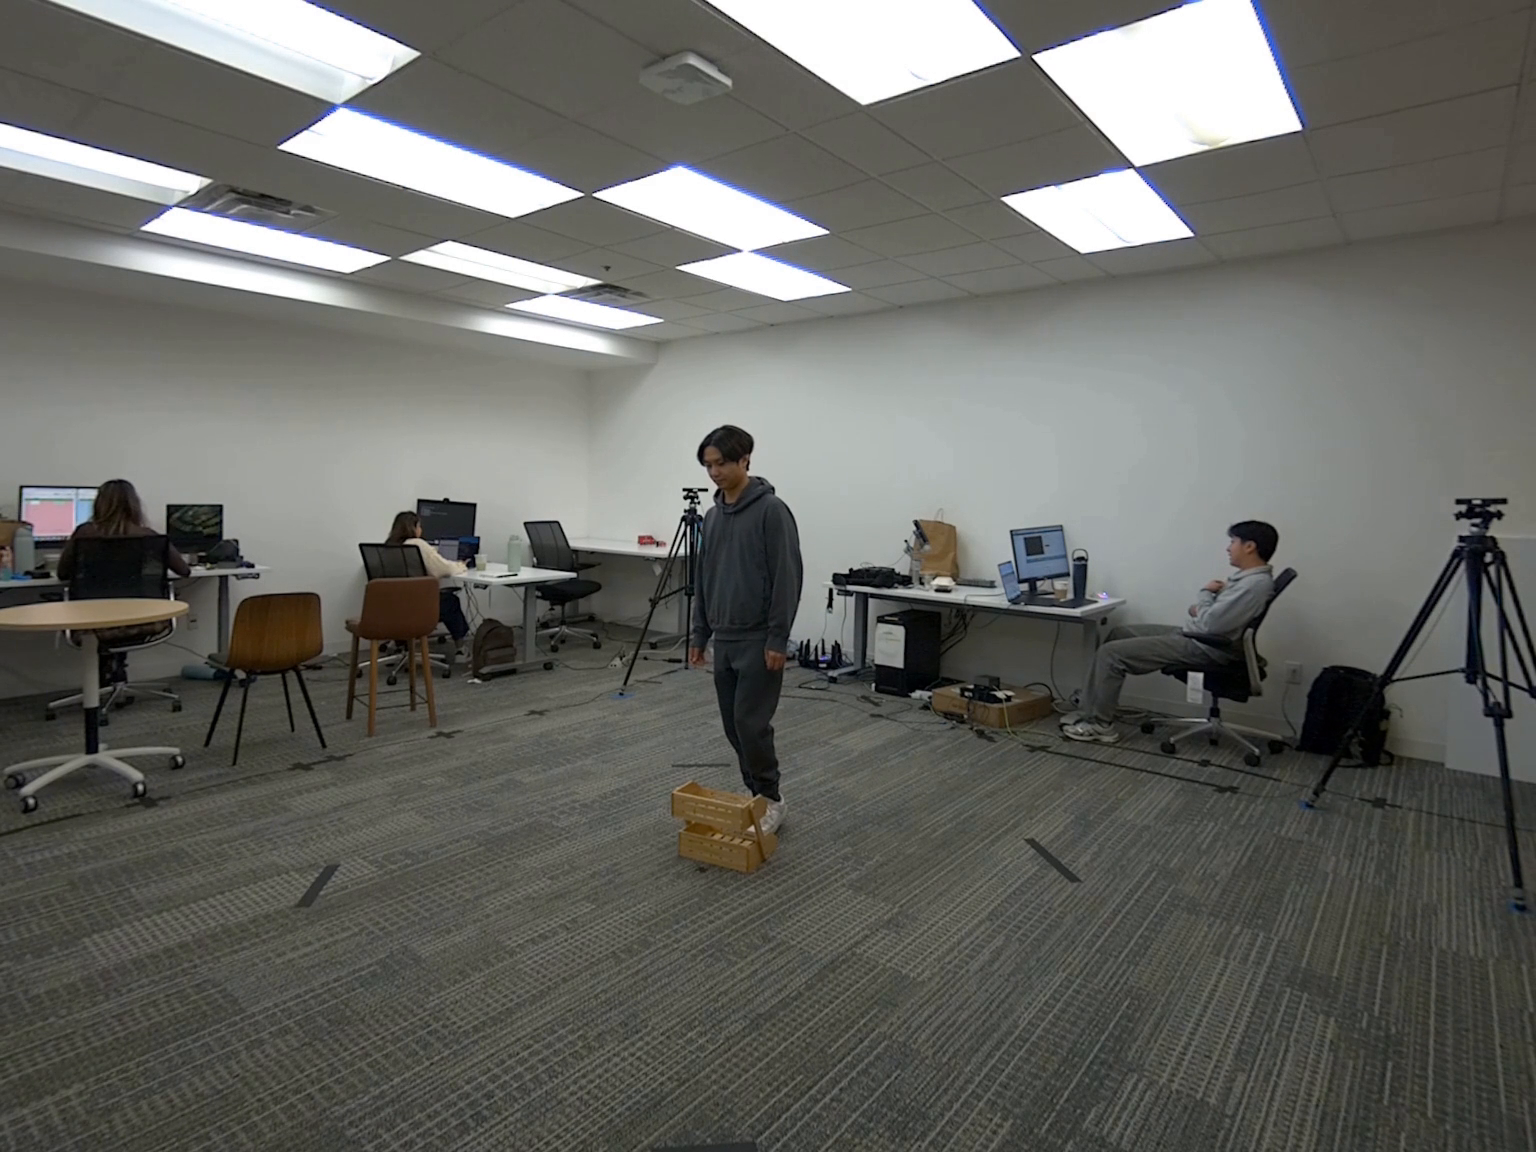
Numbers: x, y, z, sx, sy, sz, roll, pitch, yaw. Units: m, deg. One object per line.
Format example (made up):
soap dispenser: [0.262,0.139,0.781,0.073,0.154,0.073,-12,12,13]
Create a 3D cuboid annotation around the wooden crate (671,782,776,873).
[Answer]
wooden crate: [-0.173,0.924,3.236,0.333,0.272,0.295,3,5,27]
